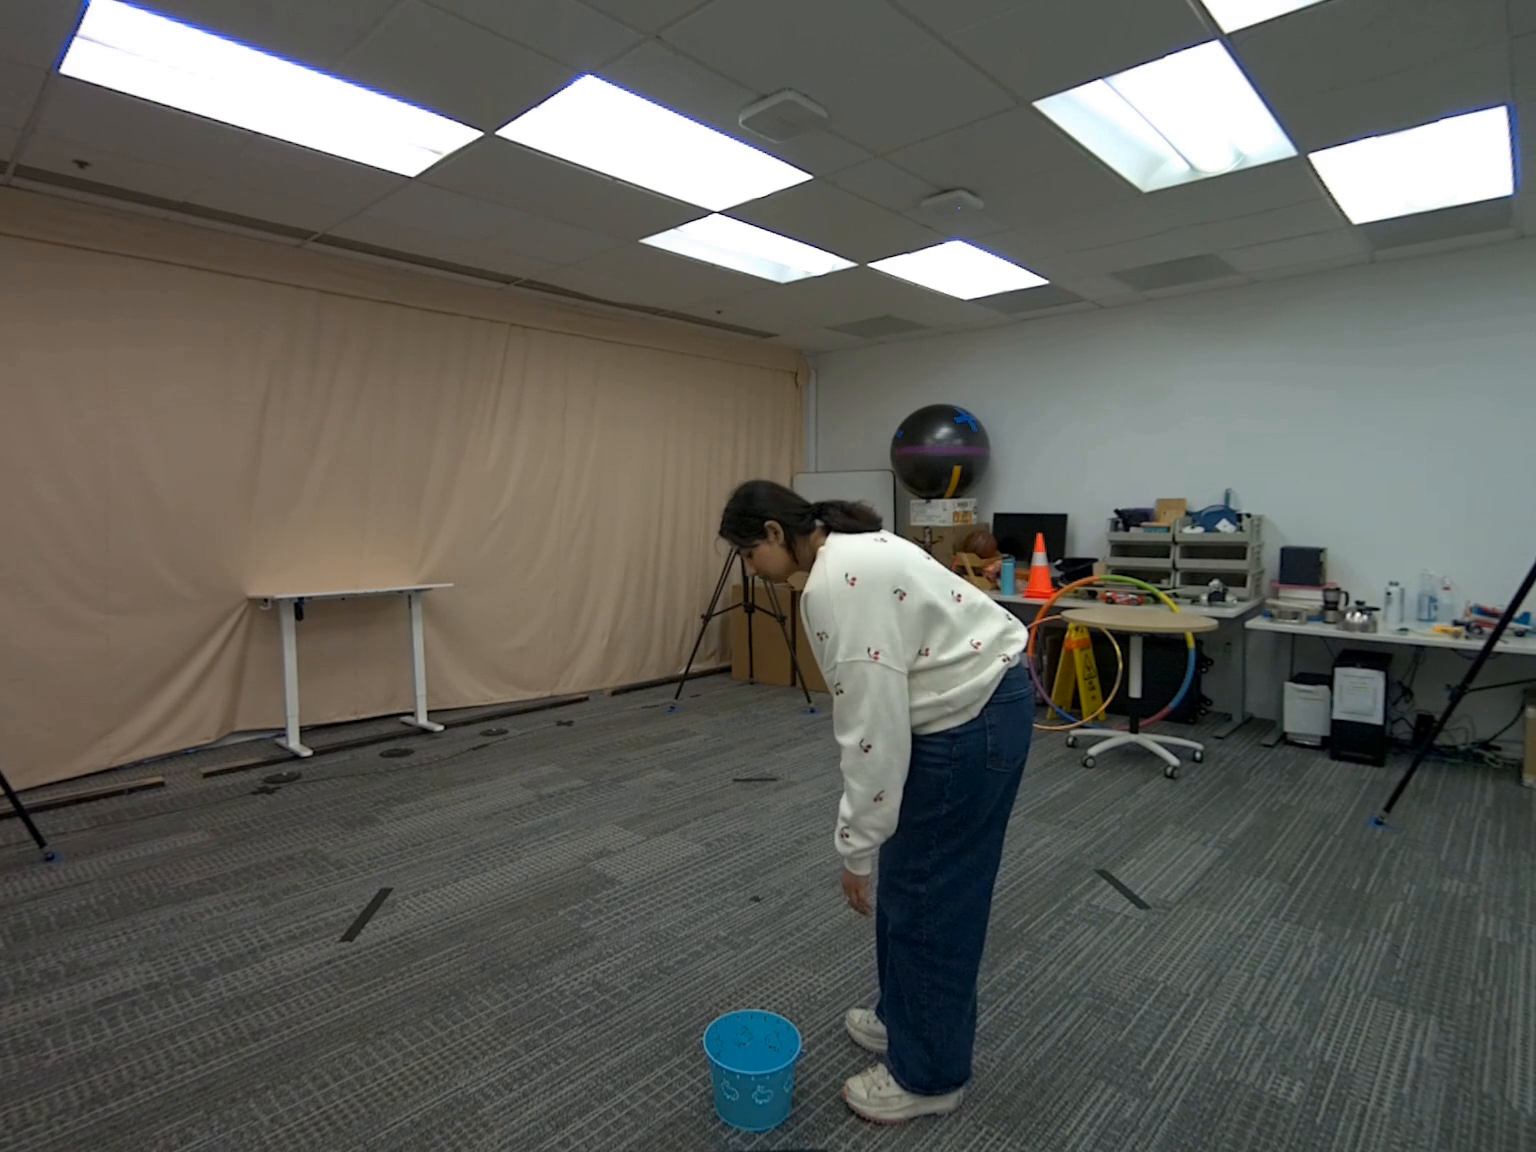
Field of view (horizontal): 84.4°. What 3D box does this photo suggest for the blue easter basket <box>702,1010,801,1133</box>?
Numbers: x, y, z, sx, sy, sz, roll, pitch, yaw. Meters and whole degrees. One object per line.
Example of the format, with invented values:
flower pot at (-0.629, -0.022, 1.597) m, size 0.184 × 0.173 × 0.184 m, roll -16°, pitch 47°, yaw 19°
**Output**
blue easter basket at (-0.038, 1.159, 1.964) m, size 0.243 × 0.155 × 0.244 m, roll 0°, pitch 4°, yaw -2°
